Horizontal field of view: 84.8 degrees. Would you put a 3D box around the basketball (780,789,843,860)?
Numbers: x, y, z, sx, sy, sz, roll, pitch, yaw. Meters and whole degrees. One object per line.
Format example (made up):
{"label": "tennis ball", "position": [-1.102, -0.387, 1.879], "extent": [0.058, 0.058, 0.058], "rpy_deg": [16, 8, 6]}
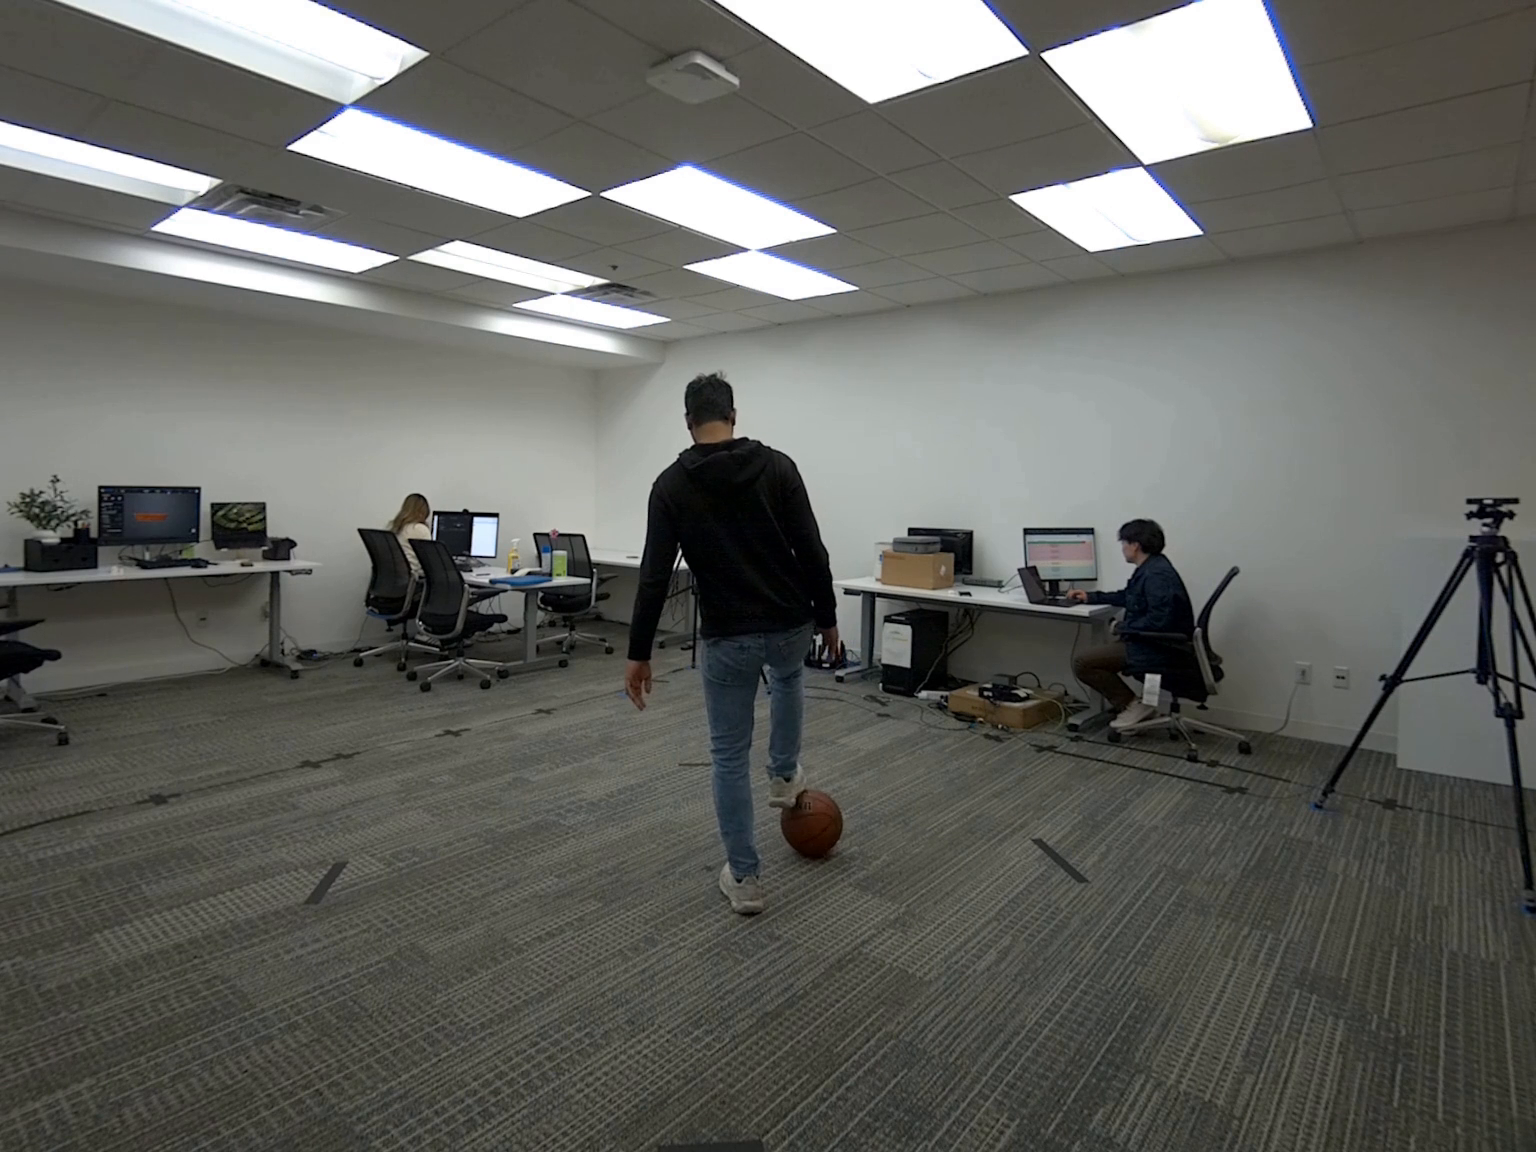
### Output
{"label": "basketball", "position": [0.163, 0.937, 3.258], "extent": [0.235, 0.235, 0.237], "rpy_deg": [1, 4, -2]}
